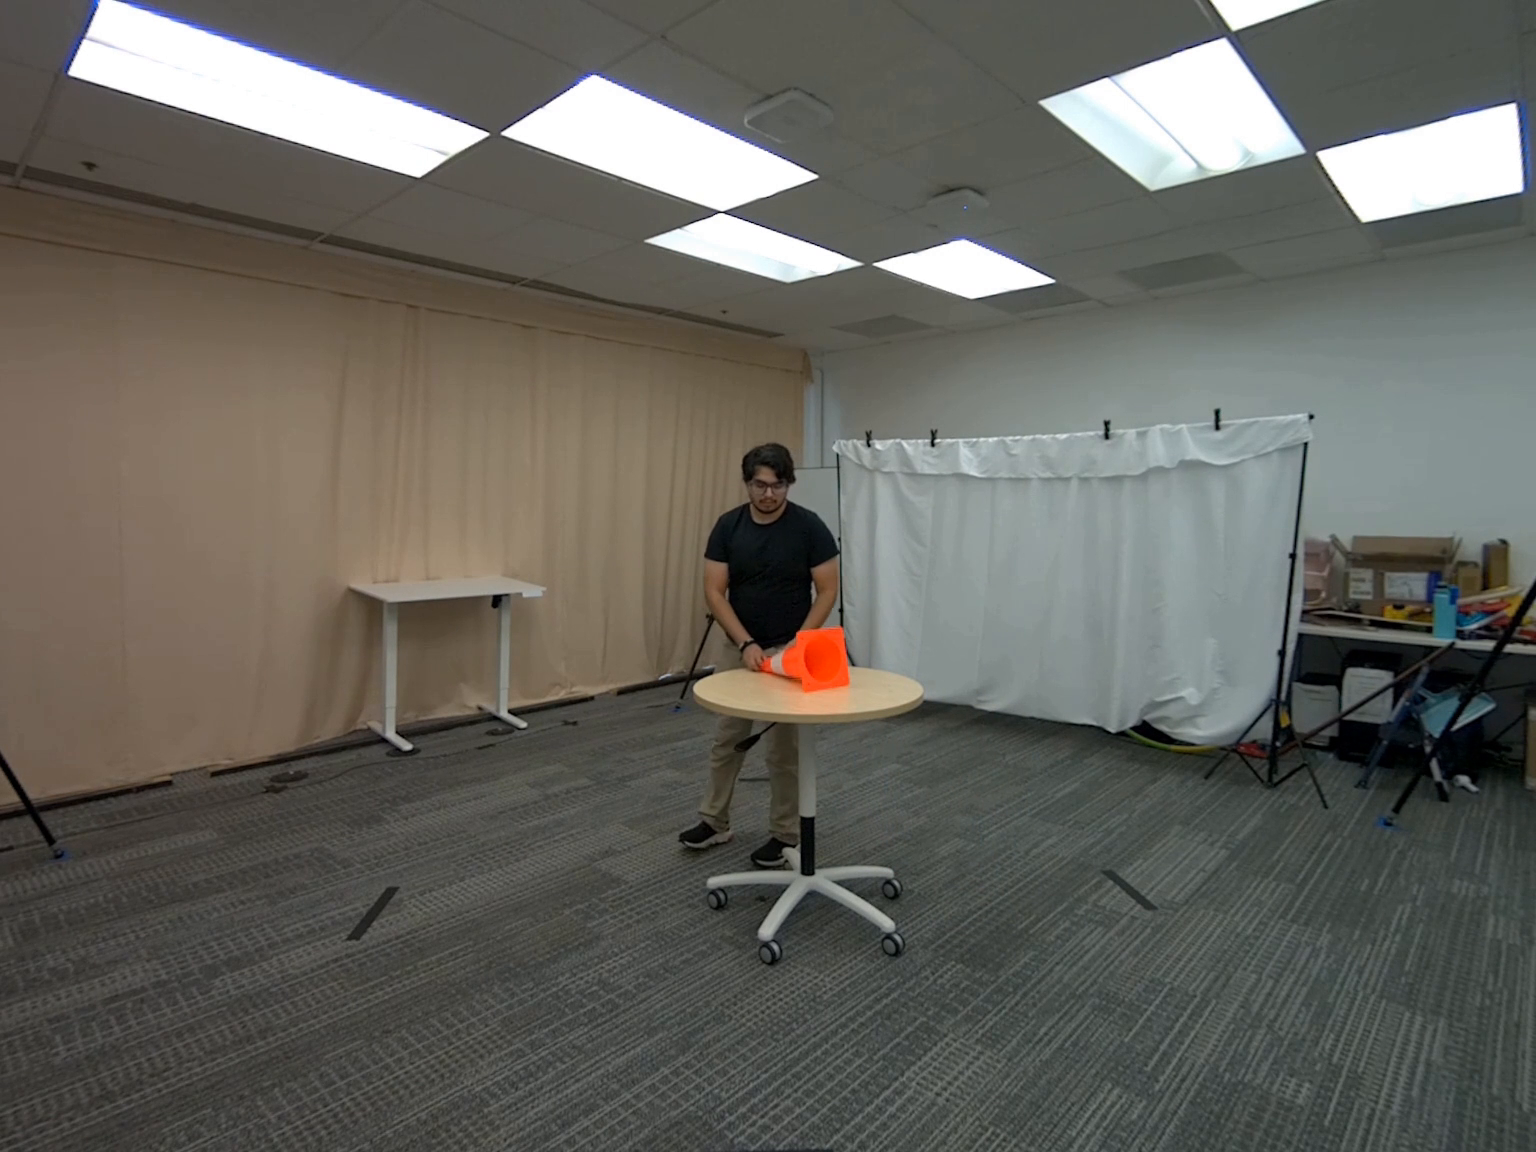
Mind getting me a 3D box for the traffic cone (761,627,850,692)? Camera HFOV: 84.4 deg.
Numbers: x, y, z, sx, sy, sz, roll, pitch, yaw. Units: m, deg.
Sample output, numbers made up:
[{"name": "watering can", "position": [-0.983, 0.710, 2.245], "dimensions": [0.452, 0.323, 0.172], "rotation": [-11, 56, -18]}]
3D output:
[{"name": "traffic cone", "position": [0.074, 0.304, 2.960], "dimensions": [0.199, 0.204, 0.392], "rotation": [-3, -6, -32]}]
